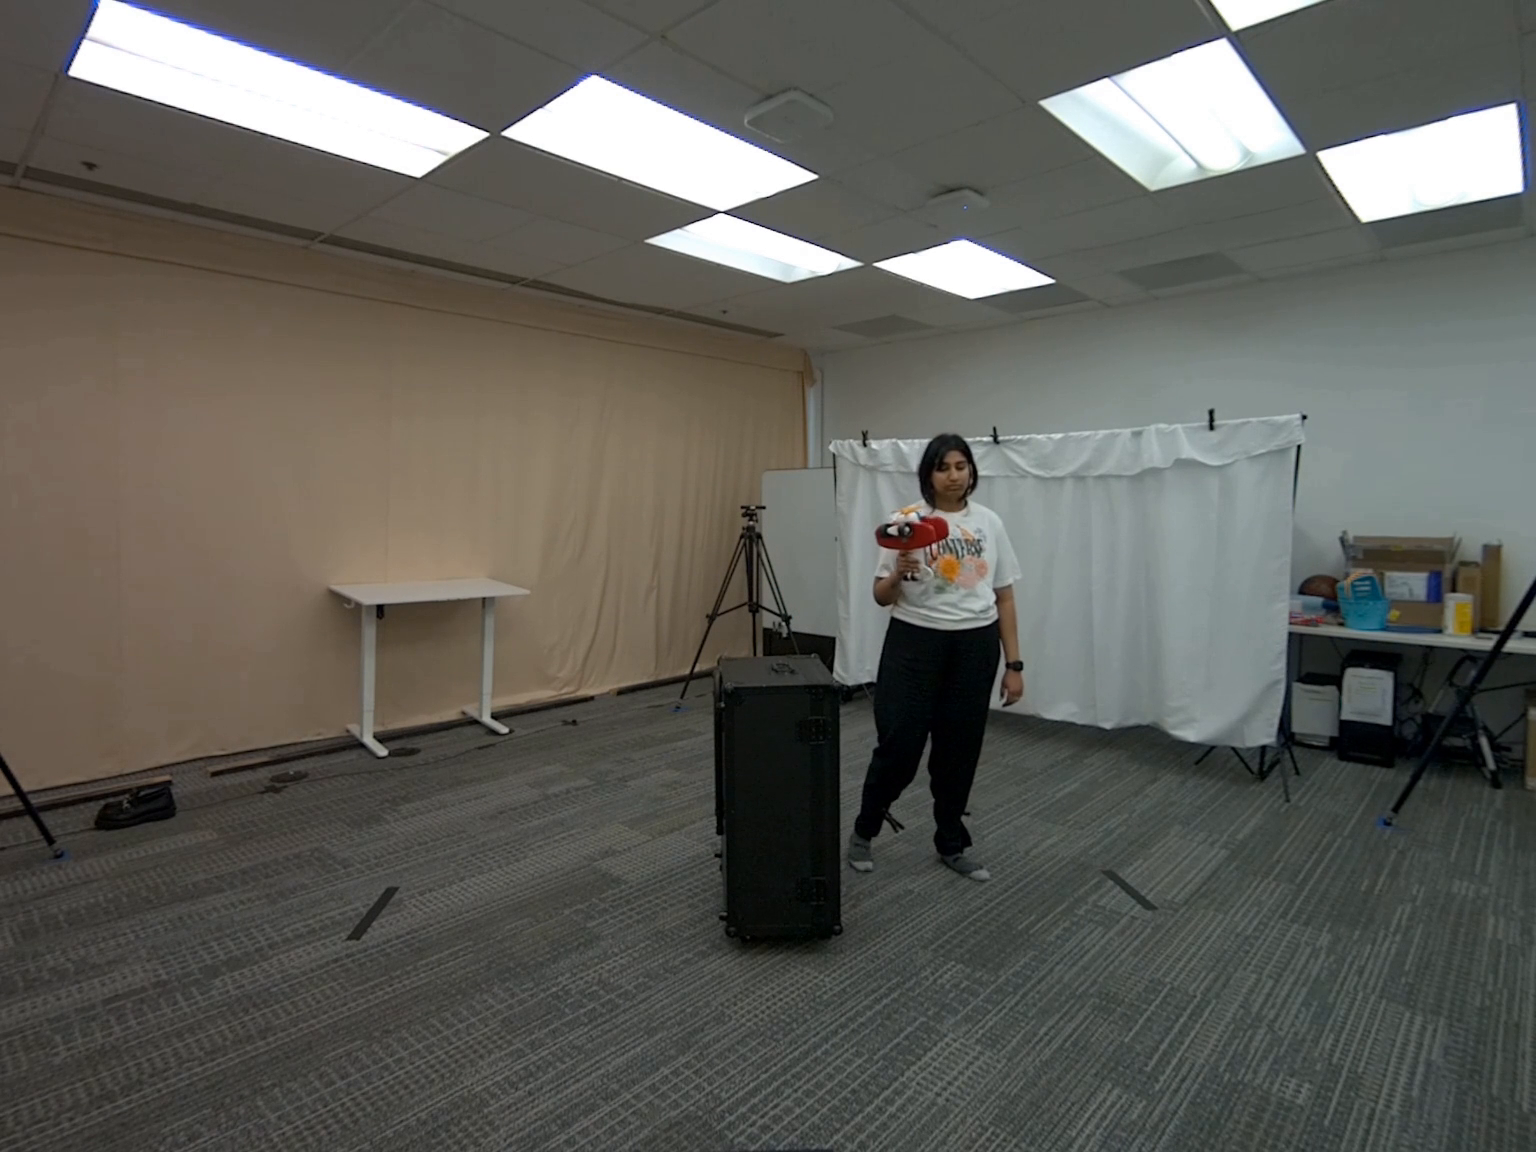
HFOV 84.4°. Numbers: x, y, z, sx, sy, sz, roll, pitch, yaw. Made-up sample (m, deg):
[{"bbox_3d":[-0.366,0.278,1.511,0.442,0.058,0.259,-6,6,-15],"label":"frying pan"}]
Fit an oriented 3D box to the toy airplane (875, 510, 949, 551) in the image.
[{"bbox_3d":[0.478,-0.108,2.952,0.260,0.254,0.154,28,48,34],"label":"toy airplane"}]
